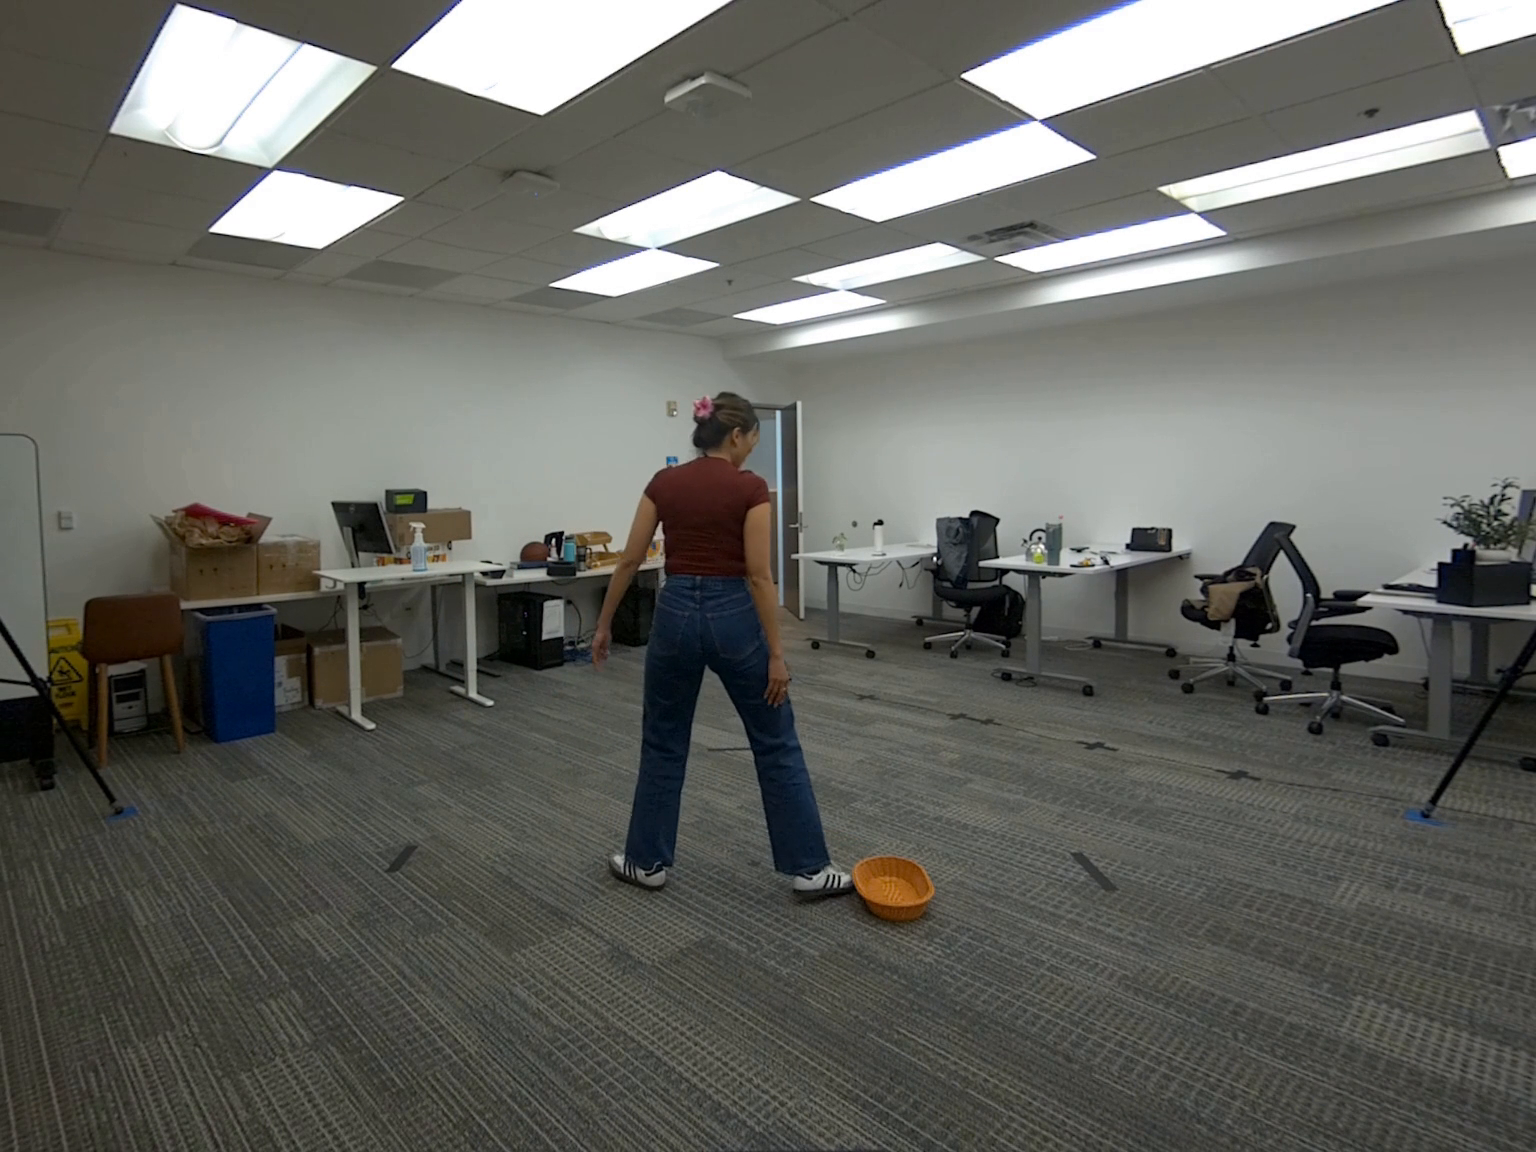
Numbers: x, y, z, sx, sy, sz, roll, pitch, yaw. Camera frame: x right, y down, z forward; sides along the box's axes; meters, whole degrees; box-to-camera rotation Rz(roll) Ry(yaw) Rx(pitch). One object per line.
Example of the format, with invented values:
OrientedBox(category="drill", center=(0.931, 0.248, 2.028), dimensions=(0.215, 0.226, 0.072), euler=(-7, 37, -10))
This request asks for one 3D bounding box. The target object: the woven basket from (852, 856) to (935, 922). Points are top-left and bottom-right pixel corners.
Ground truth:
OrientedBox(category="woven basket", center=(0.406, 1.024, 2.819), dimensions=(0.252, 0.073, 0.352), euler=(-2, 7, 0))
